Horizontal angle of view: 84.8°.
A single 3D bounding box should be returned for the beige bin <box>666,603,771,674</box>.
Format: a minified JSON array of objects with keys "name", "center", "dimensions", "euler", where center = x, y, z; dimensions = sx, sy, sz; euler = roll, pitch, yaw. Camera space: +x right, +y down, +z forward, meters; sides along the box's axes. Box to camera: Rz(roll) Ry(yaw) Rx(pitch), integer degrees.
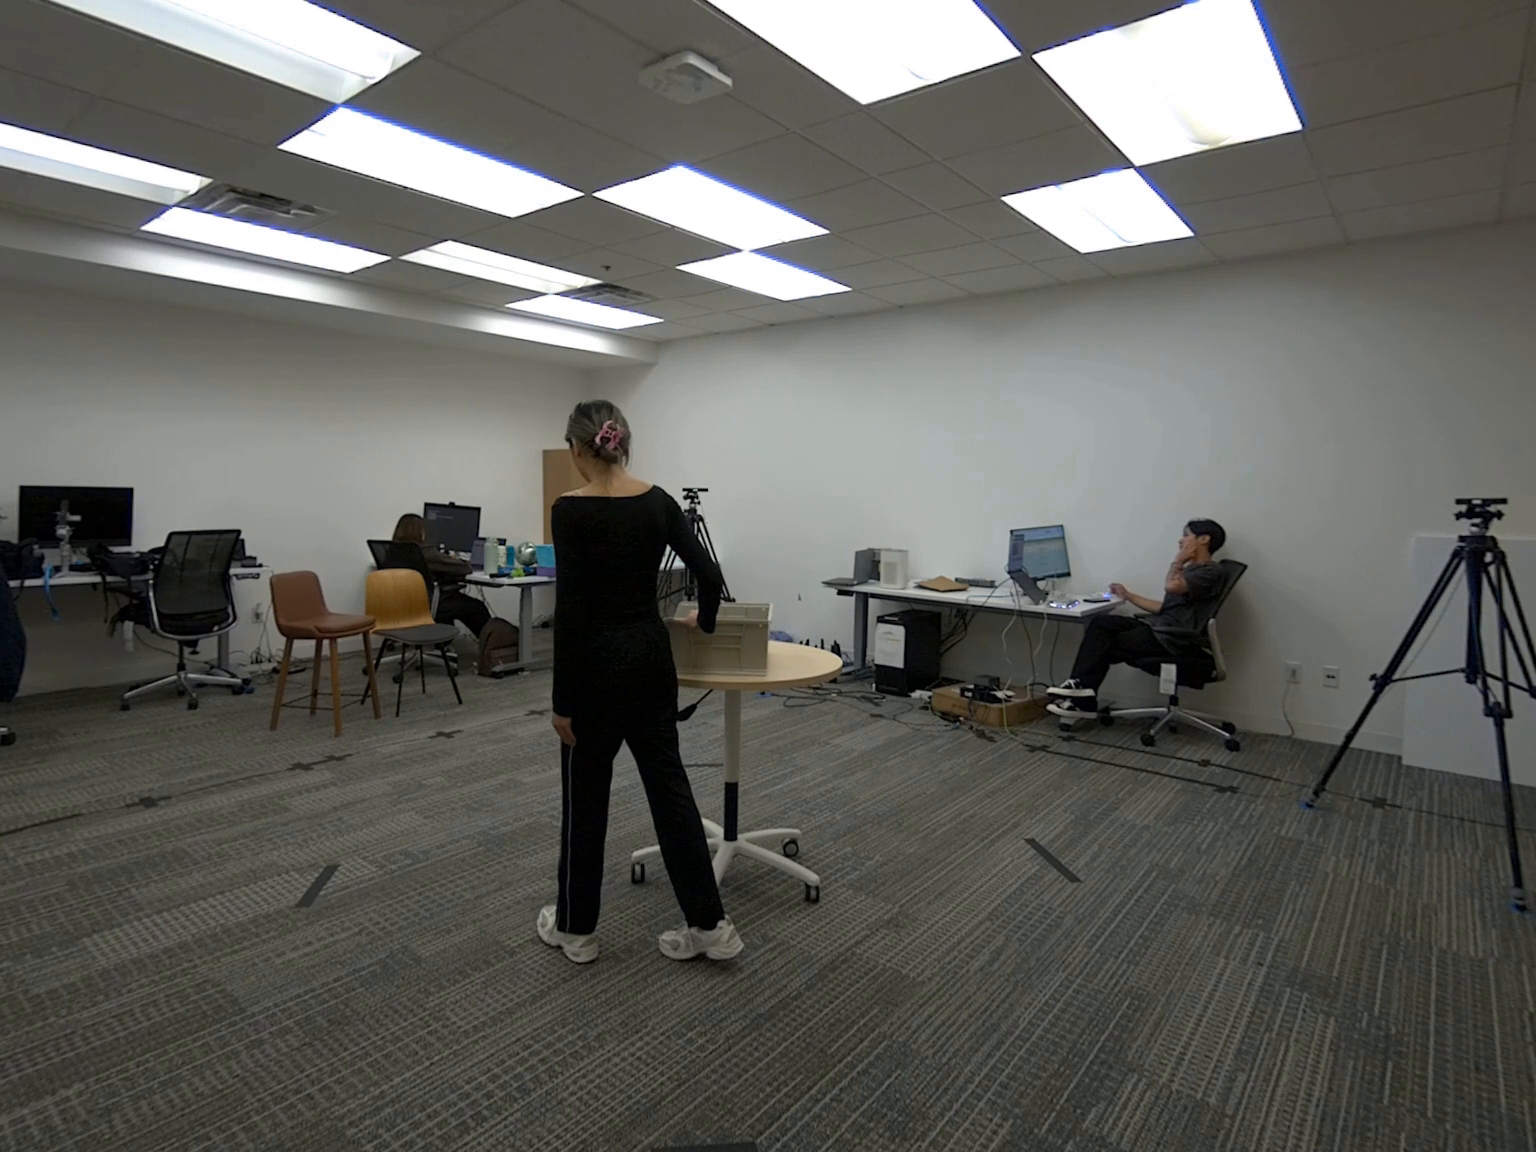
[{"name":"beige bin","center":[-0.189,0.201,2.926],"dimensions":[0.378,0.188,0.423],"euler":[3,5,1]}]
